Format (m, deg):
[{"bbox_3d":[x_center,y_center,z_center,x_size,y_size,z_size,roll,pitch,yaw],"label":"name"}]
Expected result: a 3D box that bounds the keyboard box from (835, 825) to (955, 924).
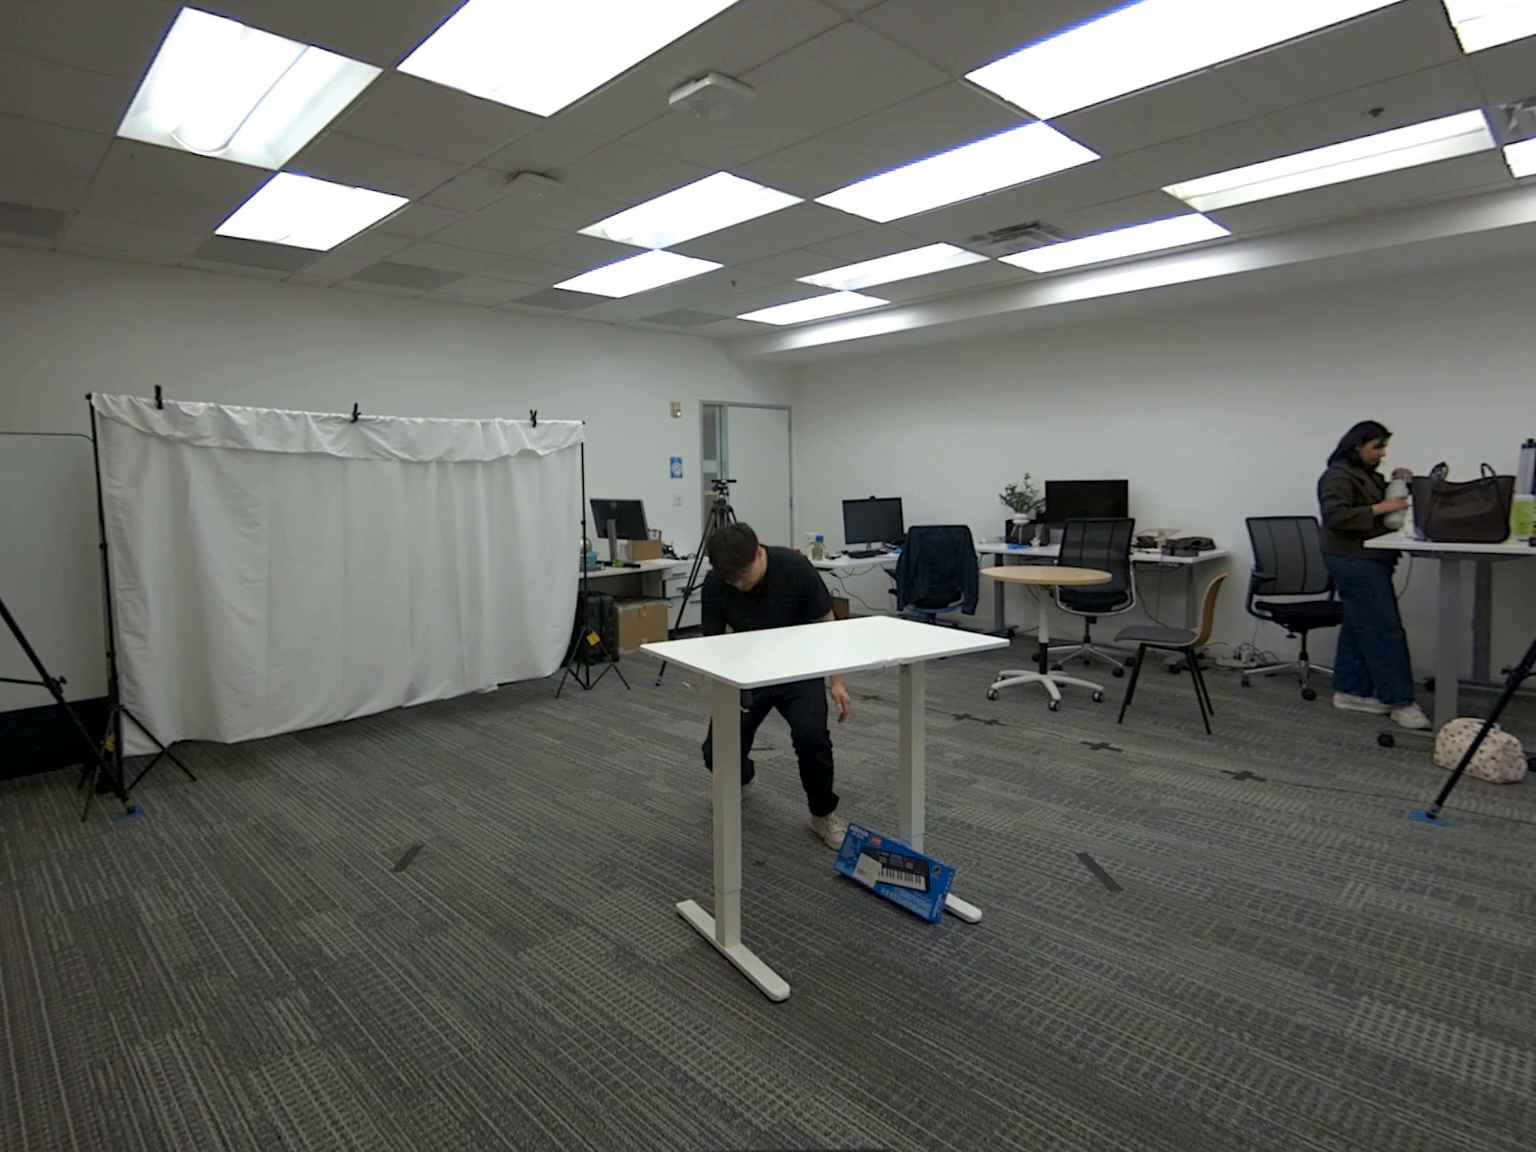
[{"bbox_3d":[0.420,0.987,2.847,0.057,0.177,0.450,29,-13,-34],"label":"keyboard box"}]
